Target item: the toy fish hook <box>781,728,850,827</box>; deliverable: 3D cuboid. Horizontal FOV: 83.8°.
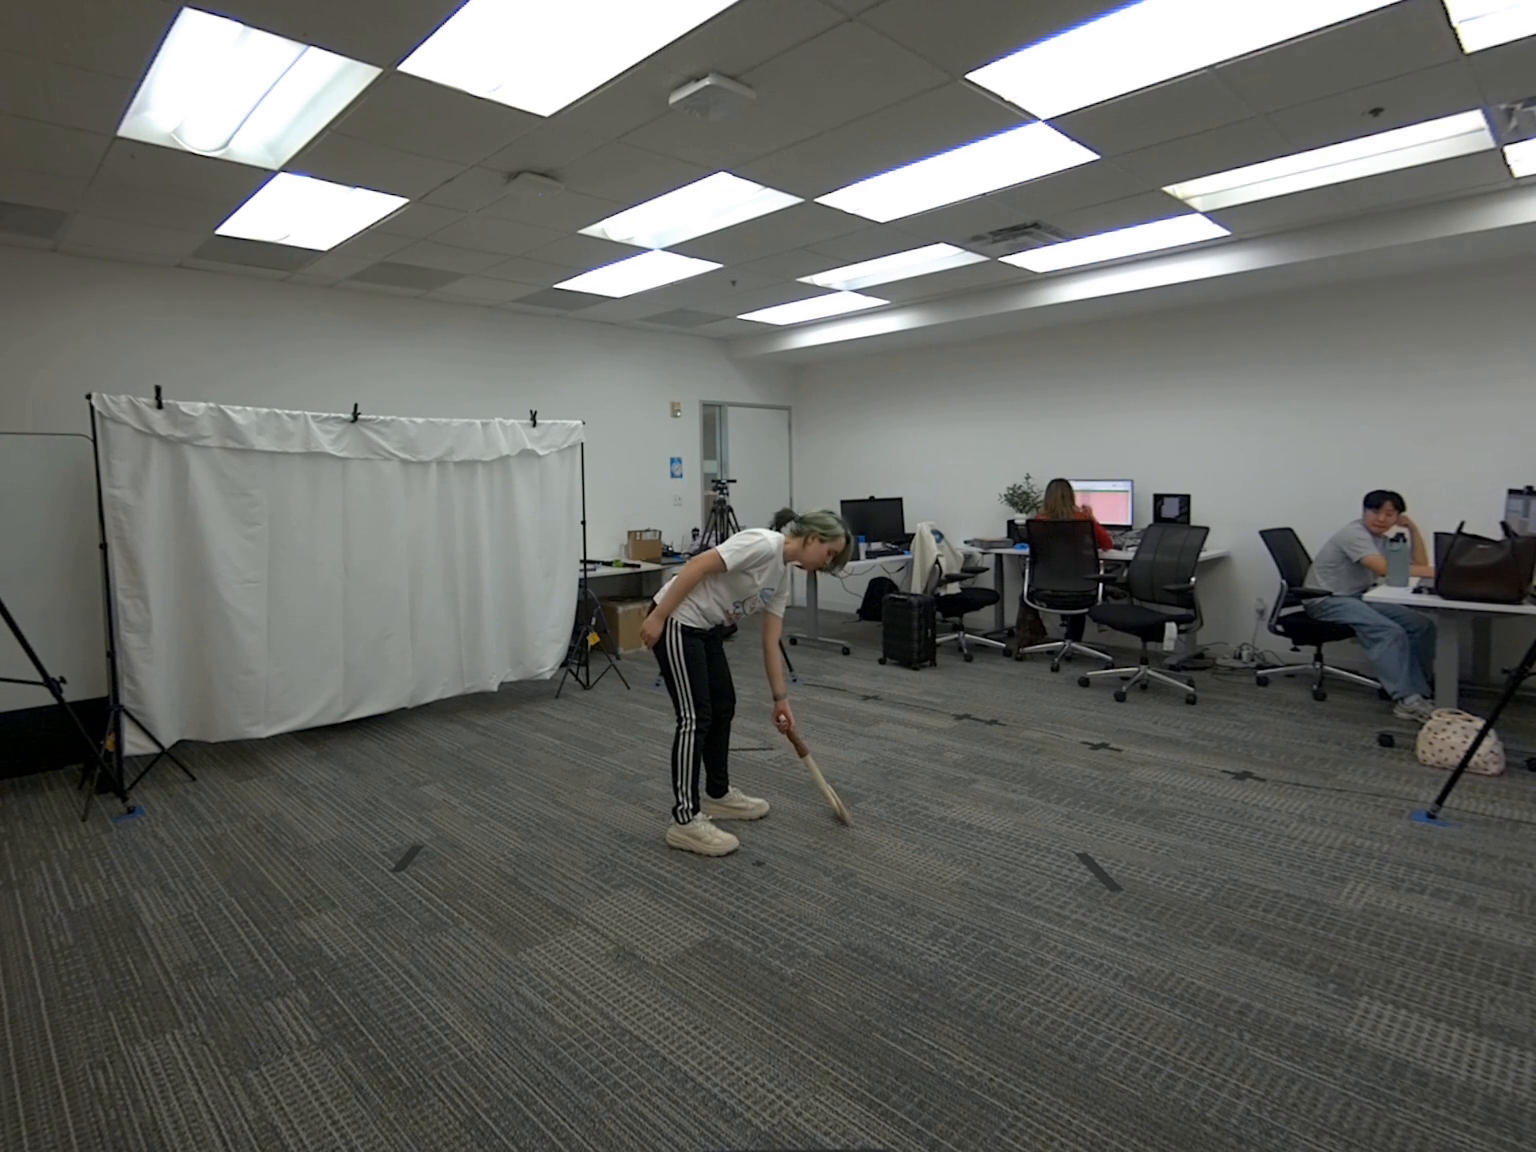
[{"bbox_3d":[0.193,0.777,3.466,0.048,0.503,0.227,-34,6,-12],"label":"toy fish hook"}]
